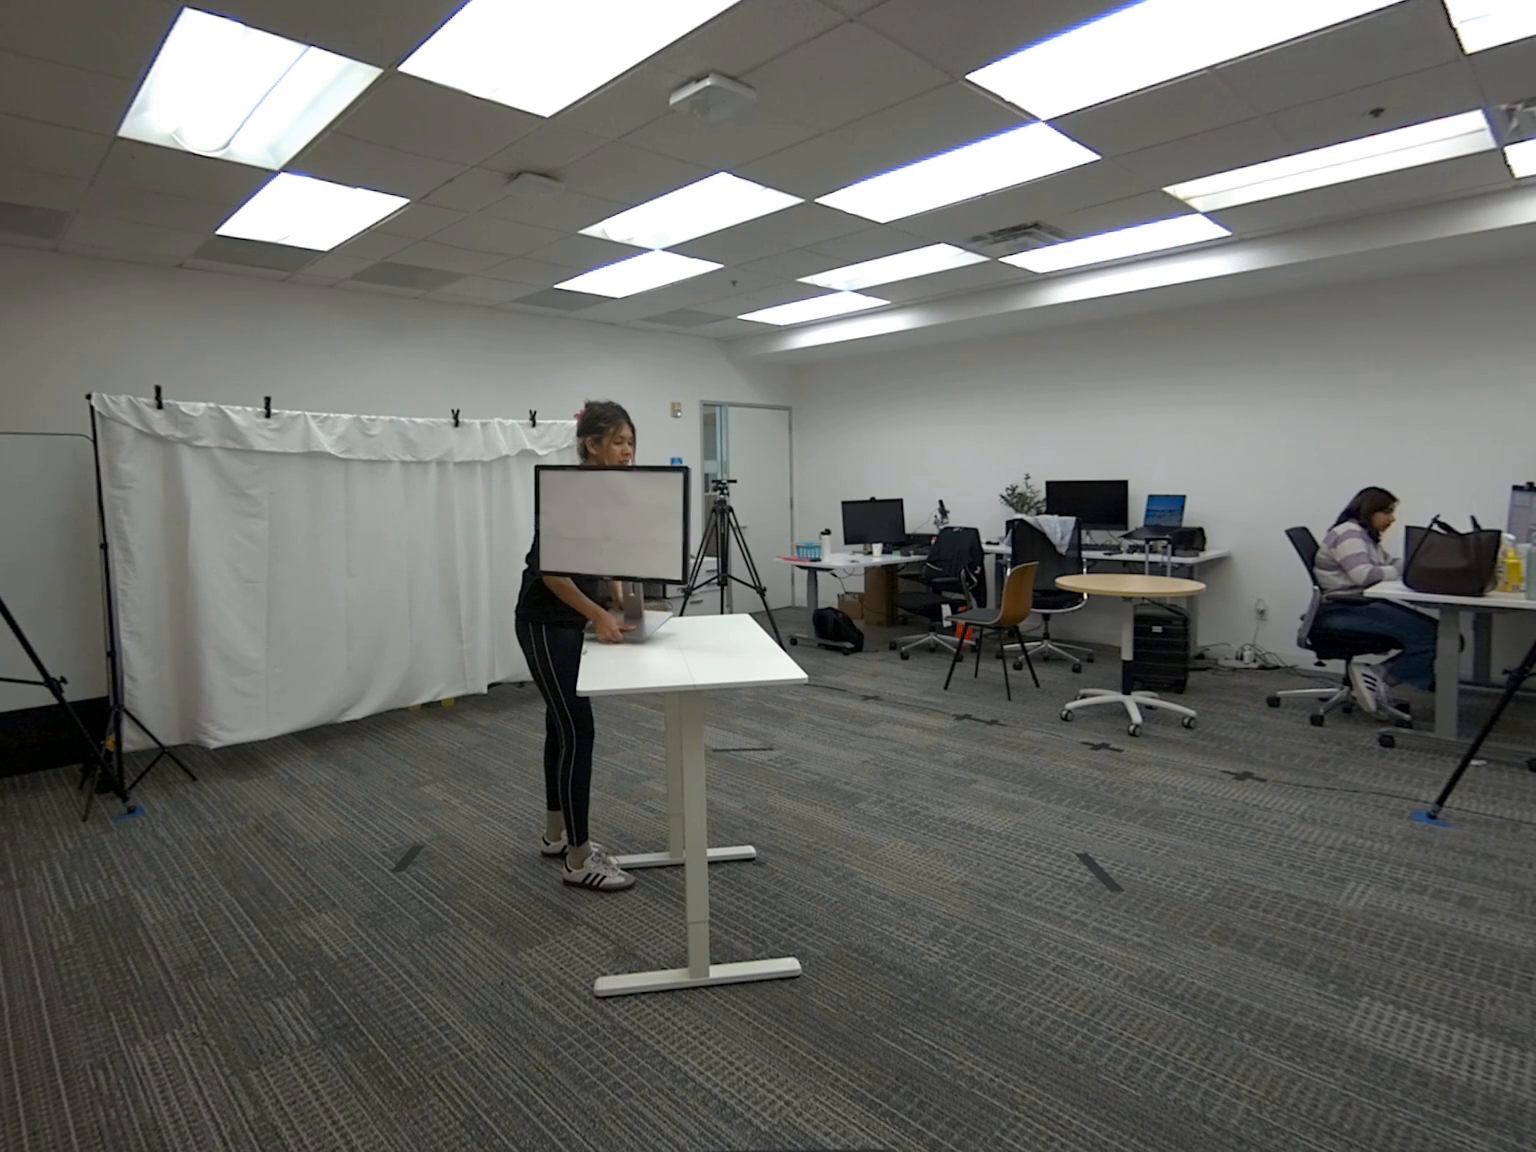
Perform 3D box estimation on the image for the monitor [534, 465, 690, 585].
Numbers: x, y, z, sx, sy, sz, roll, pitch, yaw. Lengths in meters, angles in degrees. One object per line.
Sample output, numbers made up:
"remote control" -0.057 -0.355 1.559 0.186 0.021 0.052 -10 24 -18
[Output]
"monitor" -0.481 -0.087 2.760 0.550 0.515 0.186 4 16 22
